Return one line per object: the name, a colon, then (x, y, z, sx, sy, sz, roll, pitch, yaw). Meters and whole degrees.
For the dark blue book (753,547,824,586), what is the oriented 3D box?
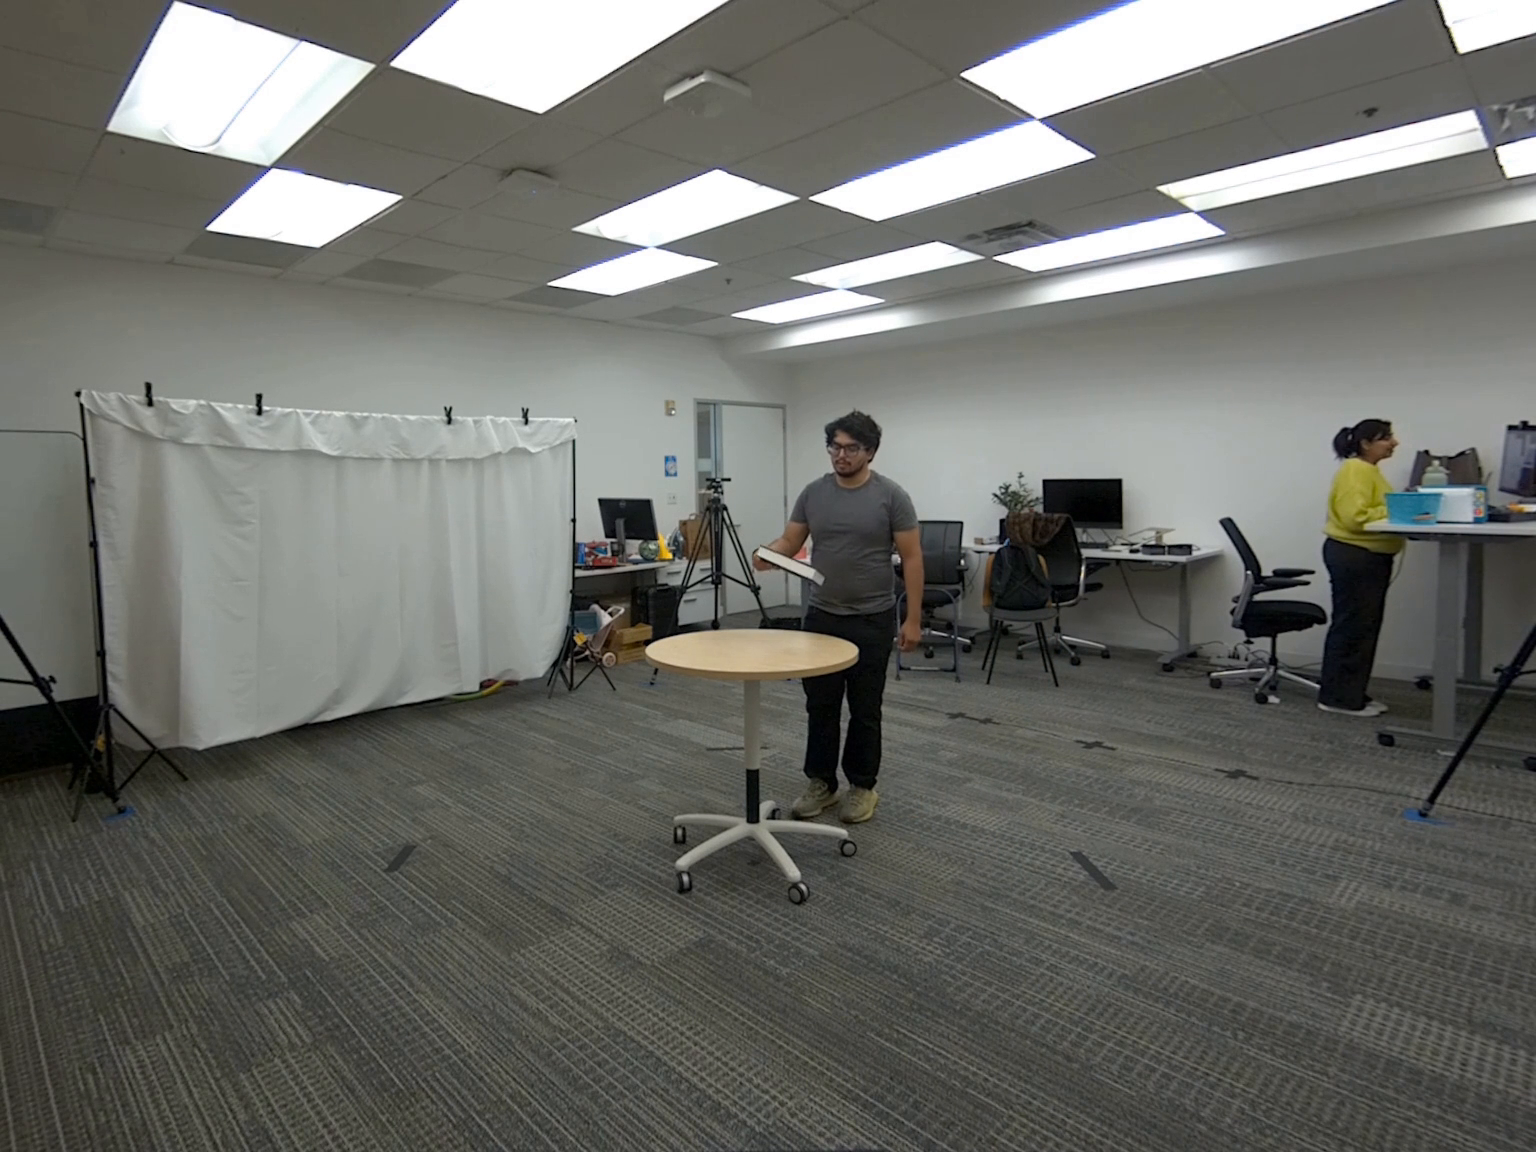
dark blue book: (0.074, -0.030, 3.275, 0.252, 0.045, 0.159, 24, -3, 22)
